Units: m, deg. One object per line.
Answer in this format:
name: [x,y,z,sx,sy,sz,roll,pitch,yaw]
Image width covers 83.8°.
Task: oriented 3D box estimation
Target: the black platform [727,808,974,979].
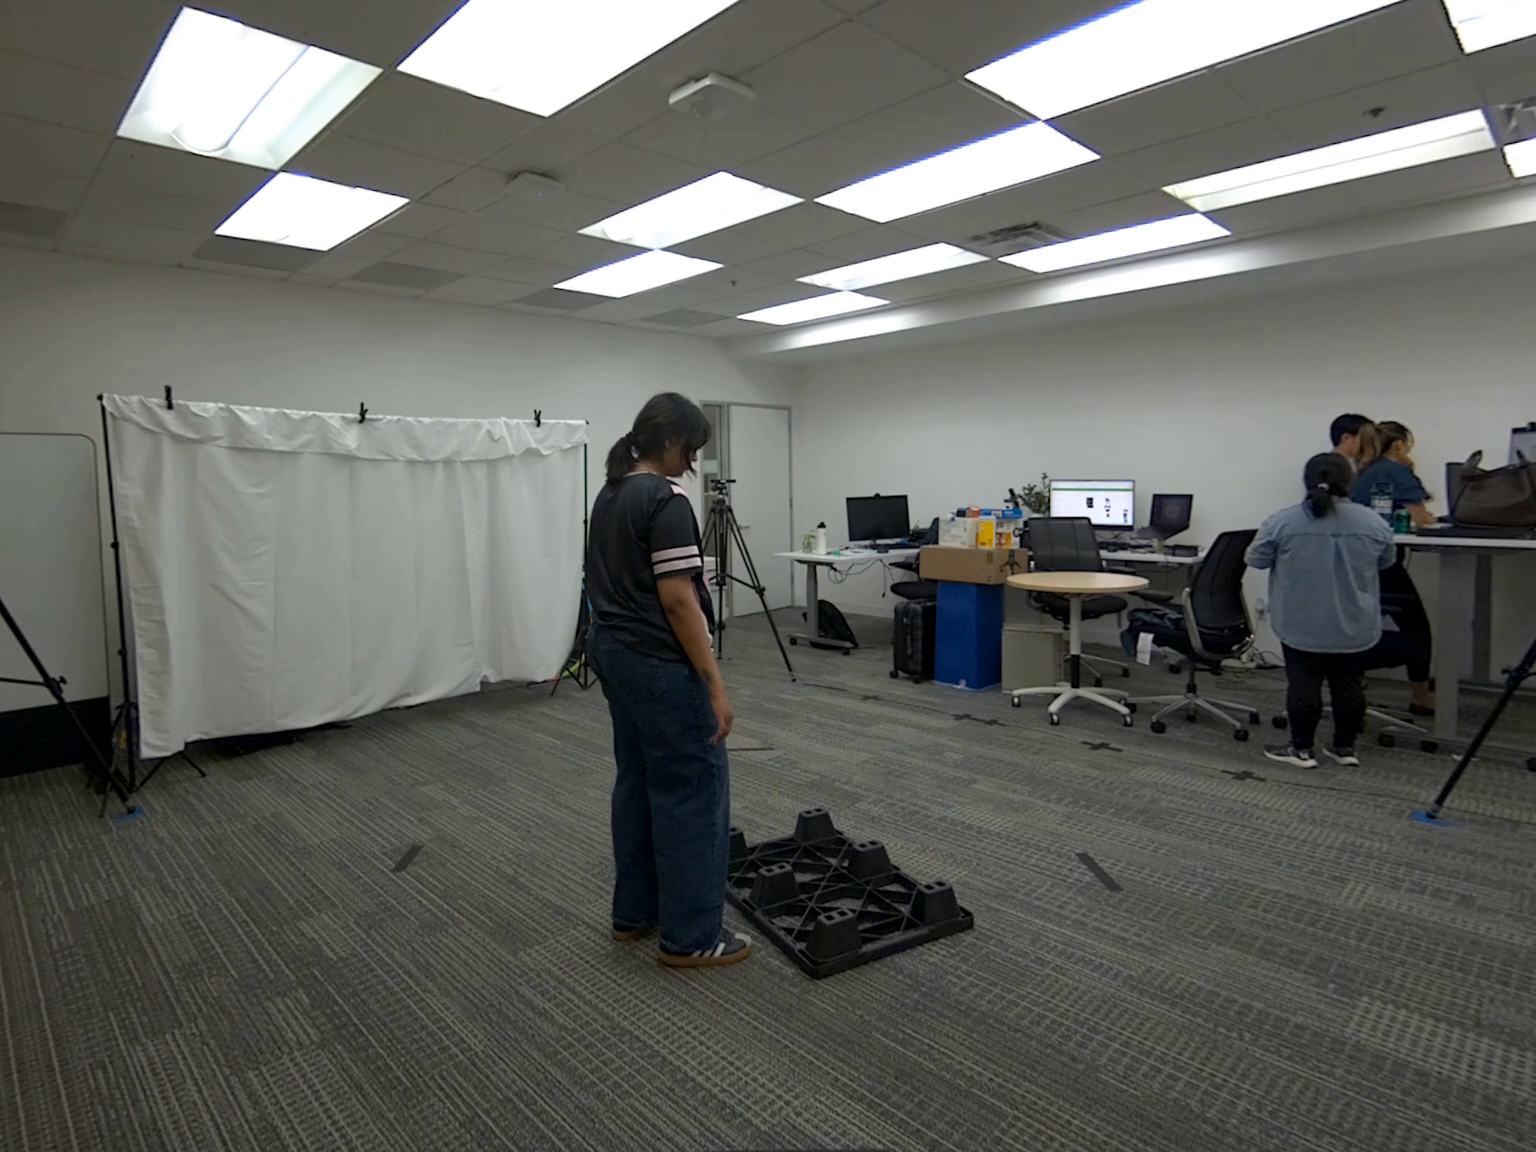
black platform: [0.184,1.005,2.863,0.591,0.143,0.828,-4,7,-29]
